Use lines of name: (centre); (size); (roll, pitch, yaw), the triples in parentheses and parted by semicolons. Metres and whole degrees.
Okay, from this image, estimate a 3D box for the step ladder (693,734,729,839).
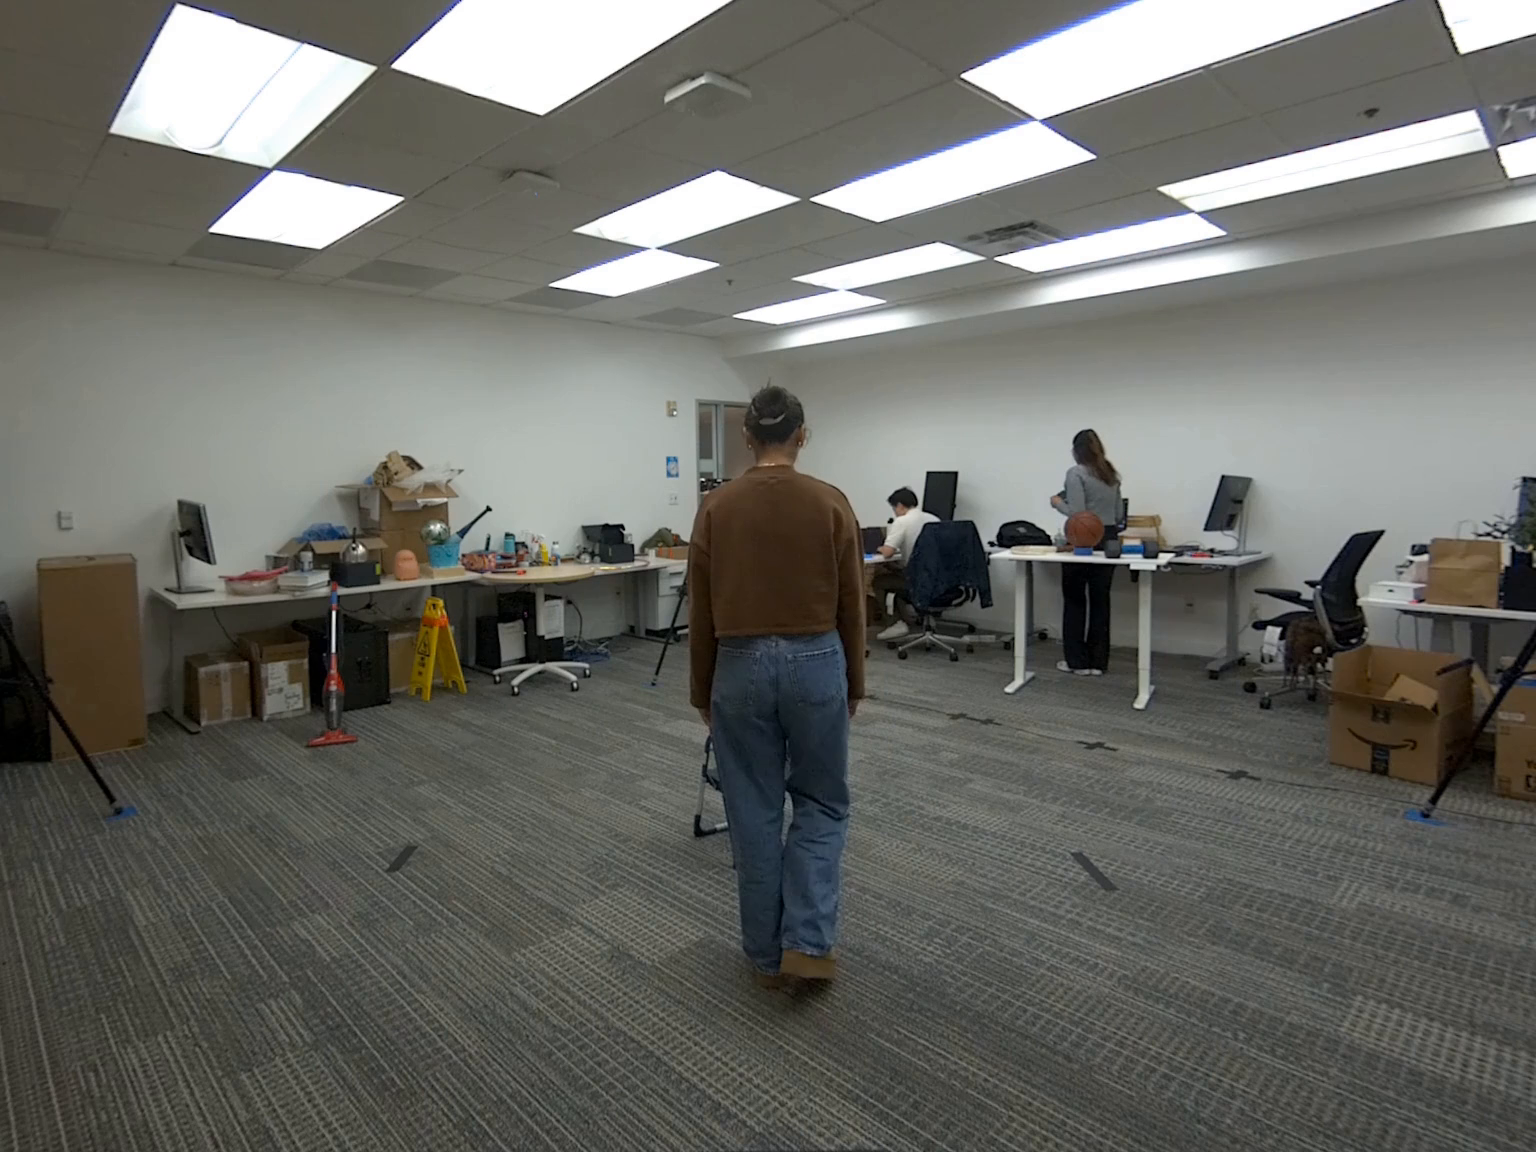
step ladder: (-0.025, 0.718, 3.292); (0.420, 0.604, 0.359); (-4, 5, -33)
